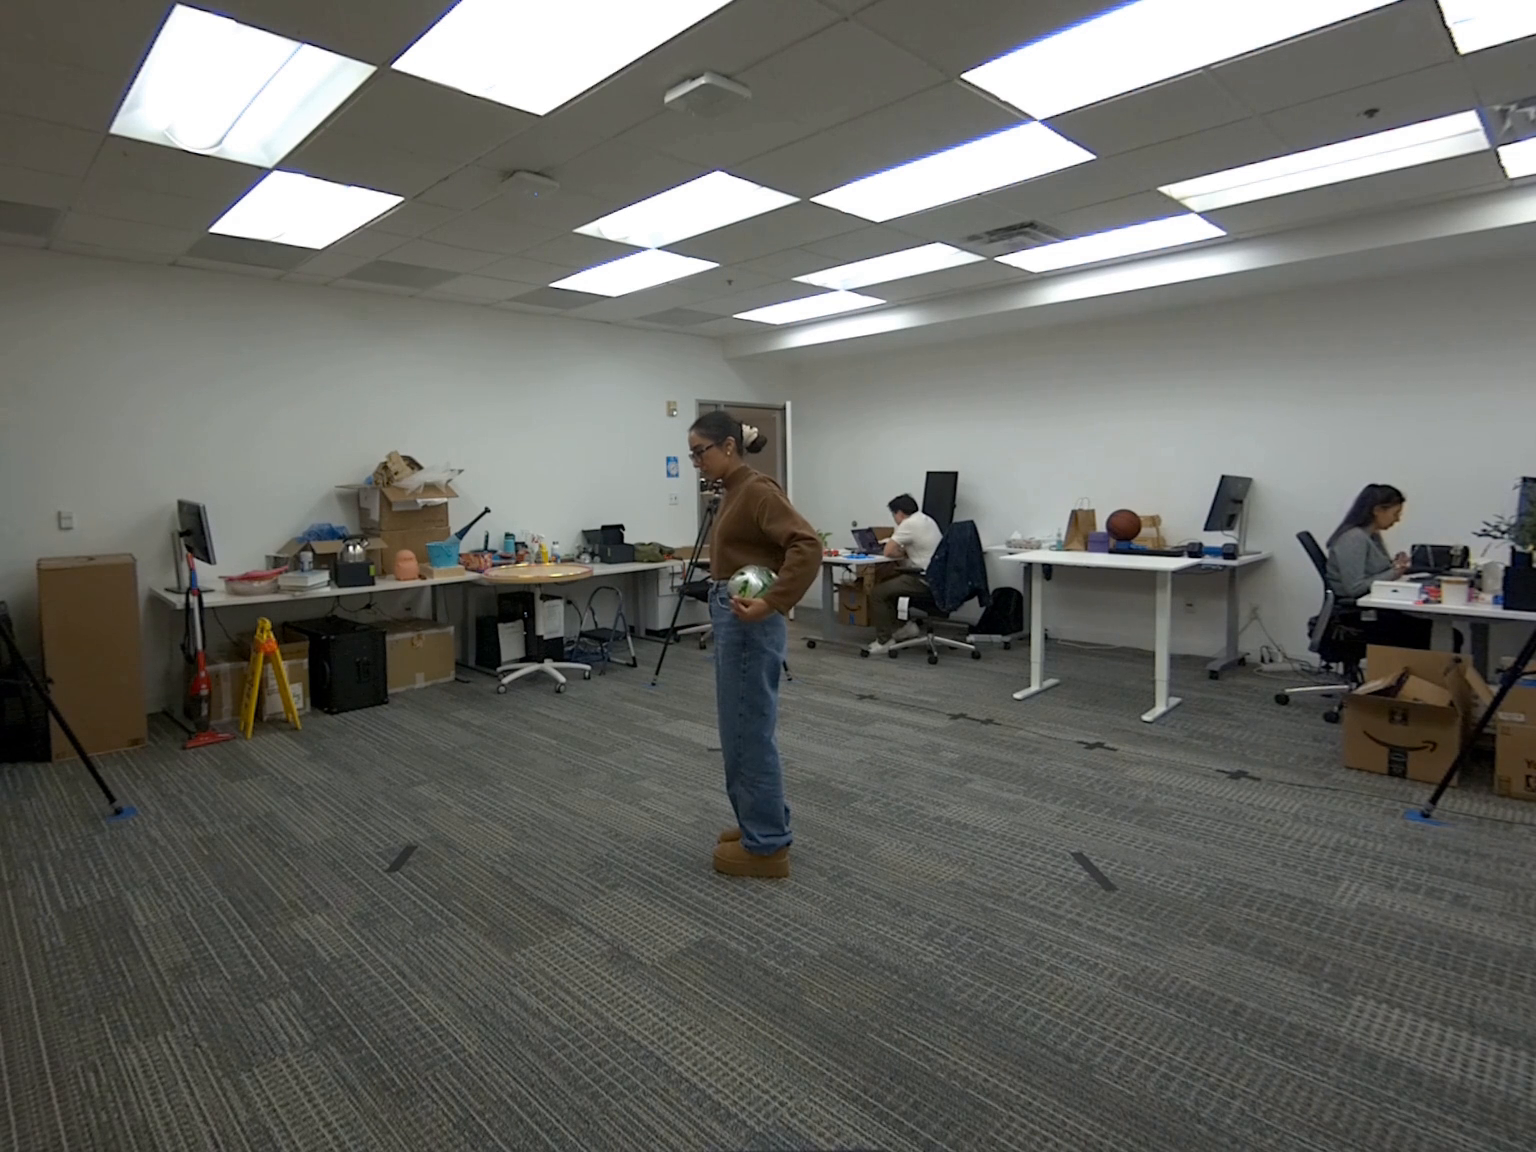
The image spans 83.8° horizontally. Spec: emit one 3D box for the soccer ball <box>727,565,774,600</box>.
[{"bbox_3d":[-0.045,0.059,2.826,0.187,0.187,0.188,-1,5,-2],"label":"soccer ball"}]
